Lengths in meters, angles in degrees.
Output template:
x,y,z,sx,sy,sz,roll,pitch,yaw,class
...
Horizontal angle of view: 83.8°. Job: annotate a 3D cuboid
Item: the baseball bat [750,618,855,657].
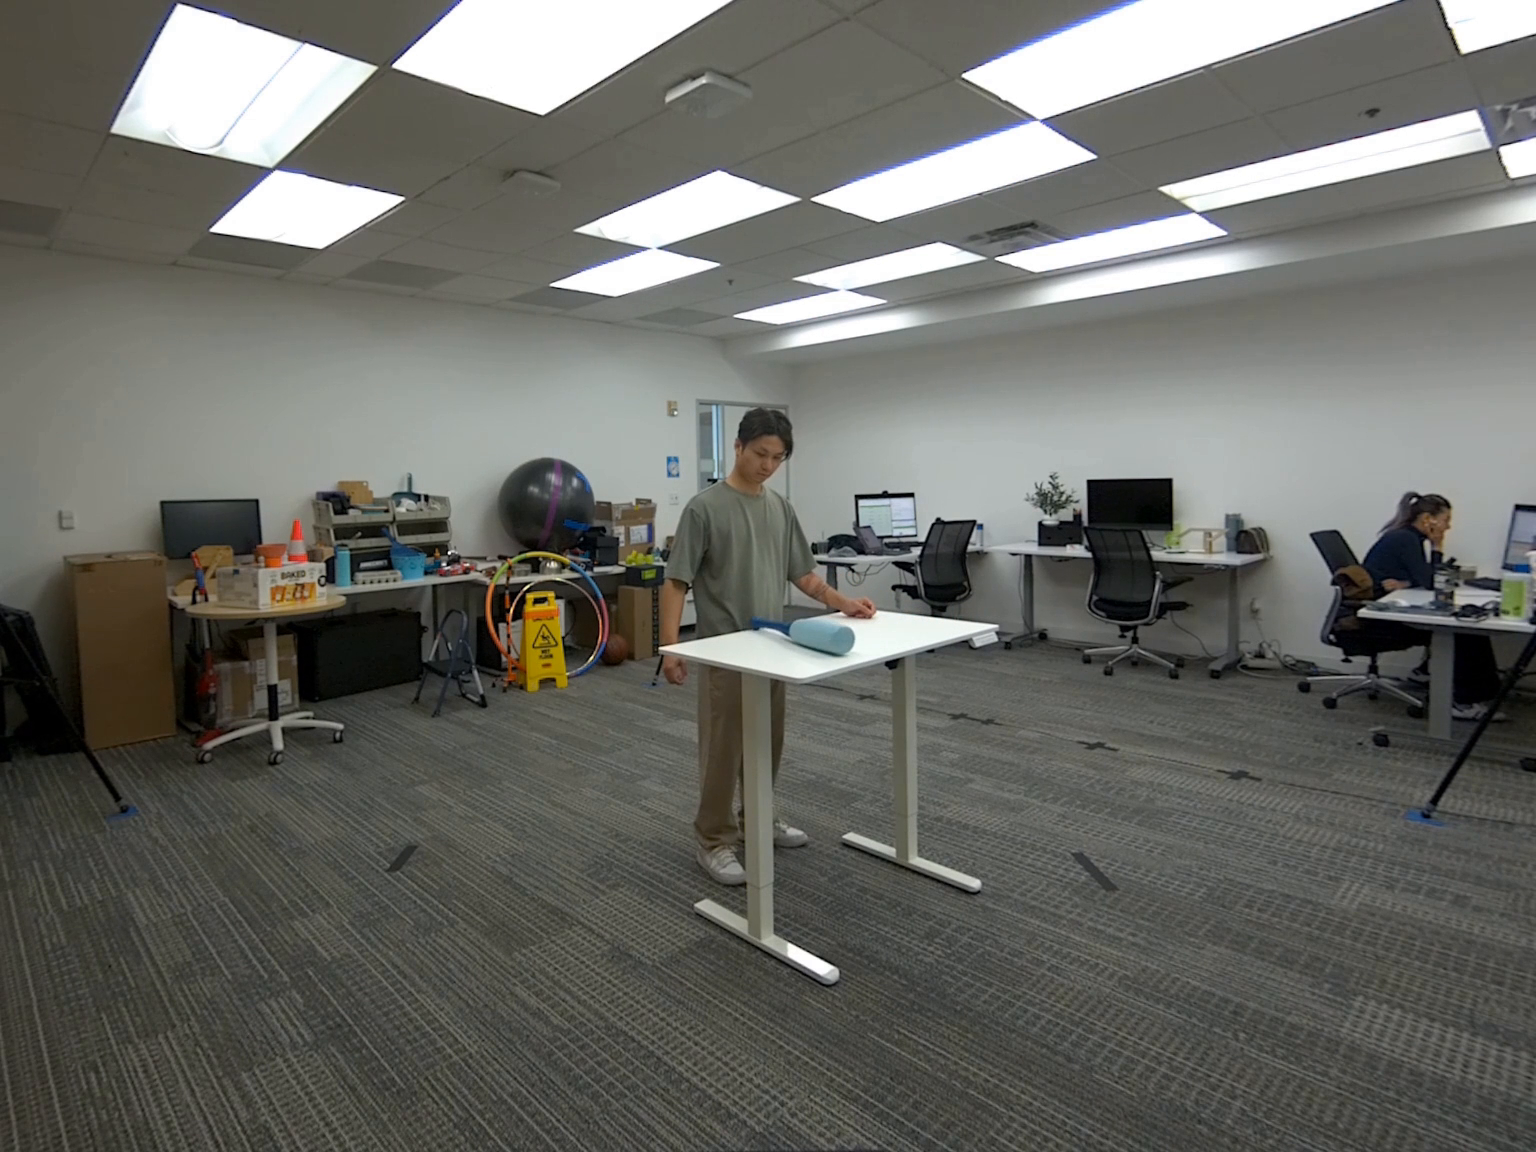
x,y,z,sx,sy,sz,roll,pitch,yaw,class
0.082,0.176,2.691,0.087,0.089,0.556,-3,4,-29,baseball bat
